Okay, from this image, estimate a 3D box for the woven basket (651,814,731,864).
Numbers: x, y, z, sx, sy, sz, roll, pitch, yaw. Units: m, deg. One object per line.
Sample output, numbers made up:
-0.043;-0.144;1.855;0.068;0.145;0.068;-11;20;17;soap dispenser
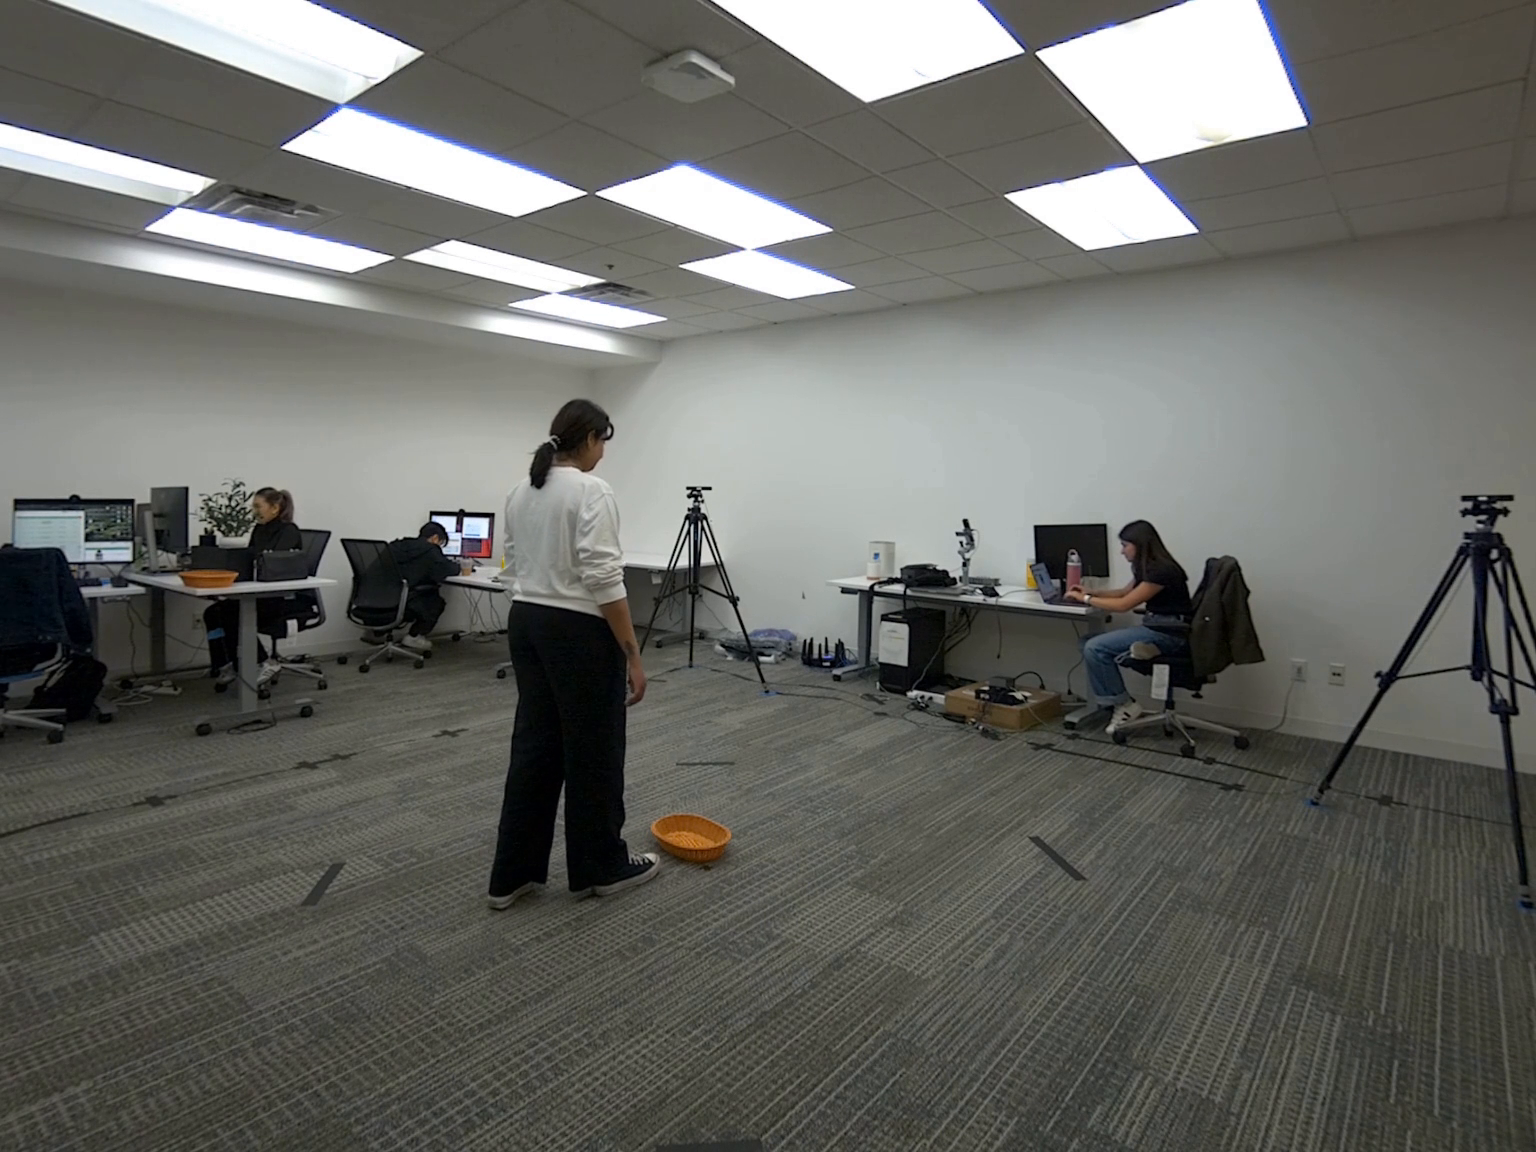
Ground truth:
-0.305;1.008;3.272;0.245;0.073;0.362;-5;8;-39;woven basket
